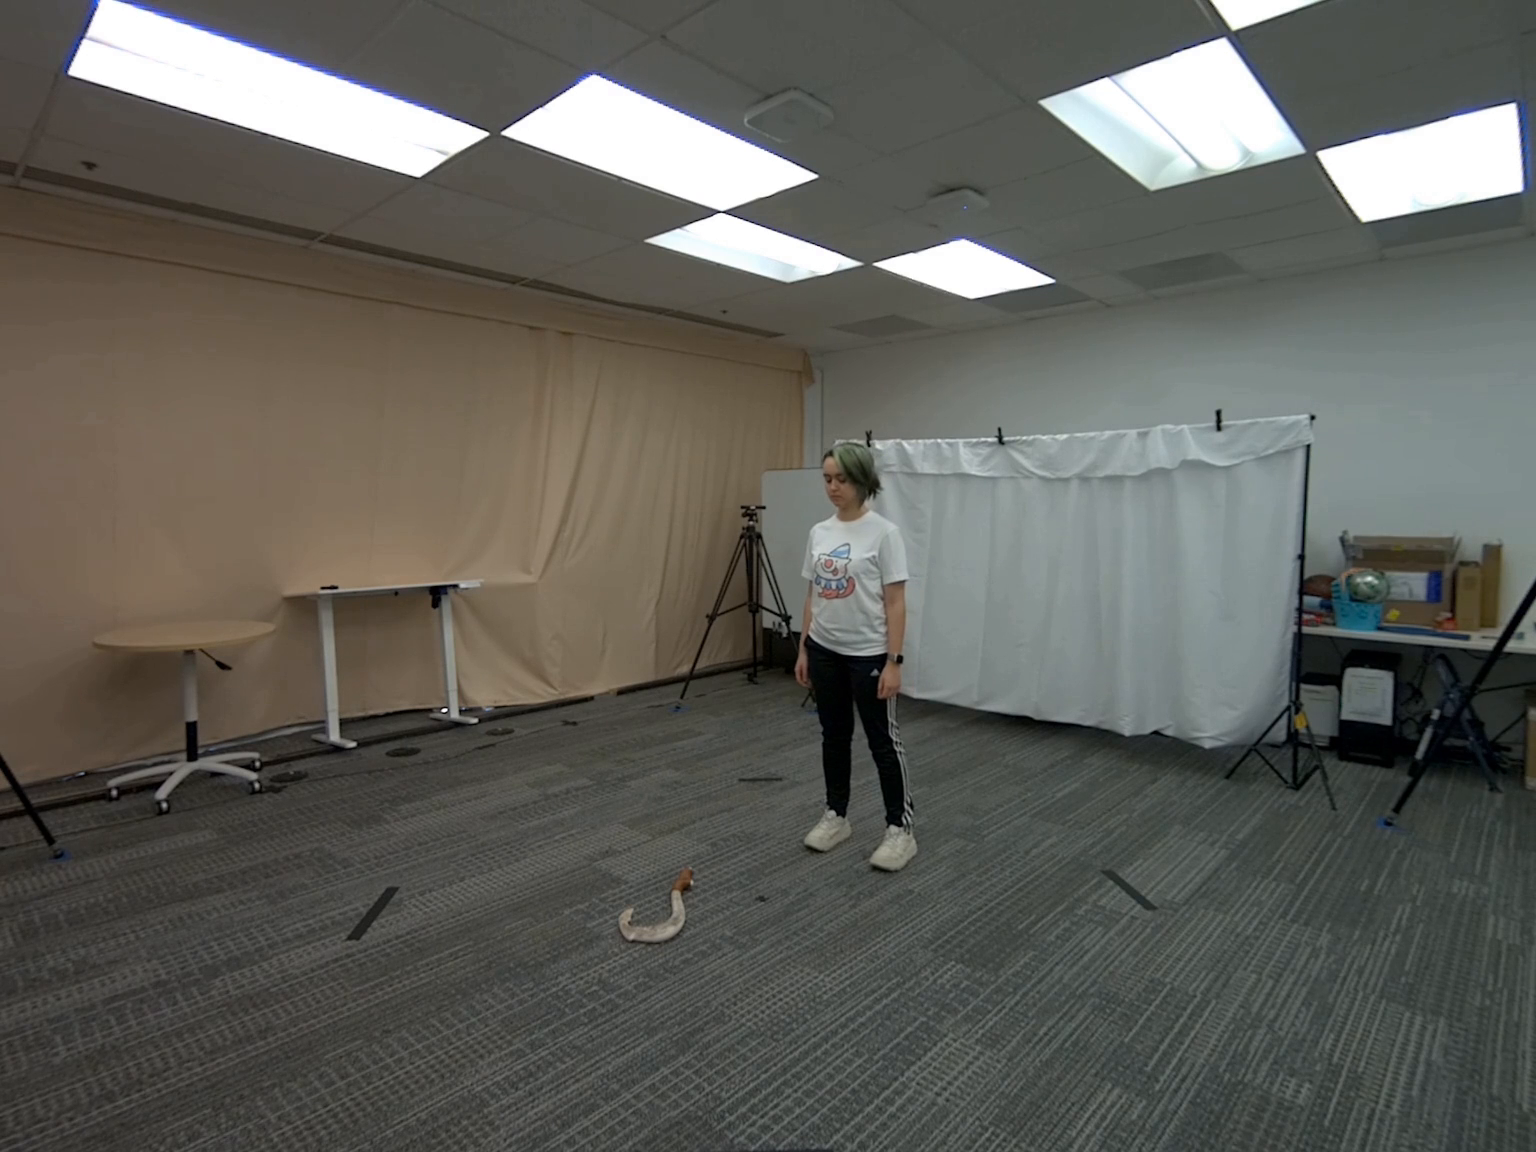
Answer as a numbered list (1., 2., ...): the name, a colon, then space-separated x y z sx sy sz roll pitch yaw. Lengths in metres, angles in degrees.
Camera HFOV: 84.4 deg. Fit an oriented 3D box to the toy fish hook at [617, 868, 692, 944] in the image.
1. toy fish hook: -0.377 1.130 2.920 0.226 0.048 0.504 2 5 5
